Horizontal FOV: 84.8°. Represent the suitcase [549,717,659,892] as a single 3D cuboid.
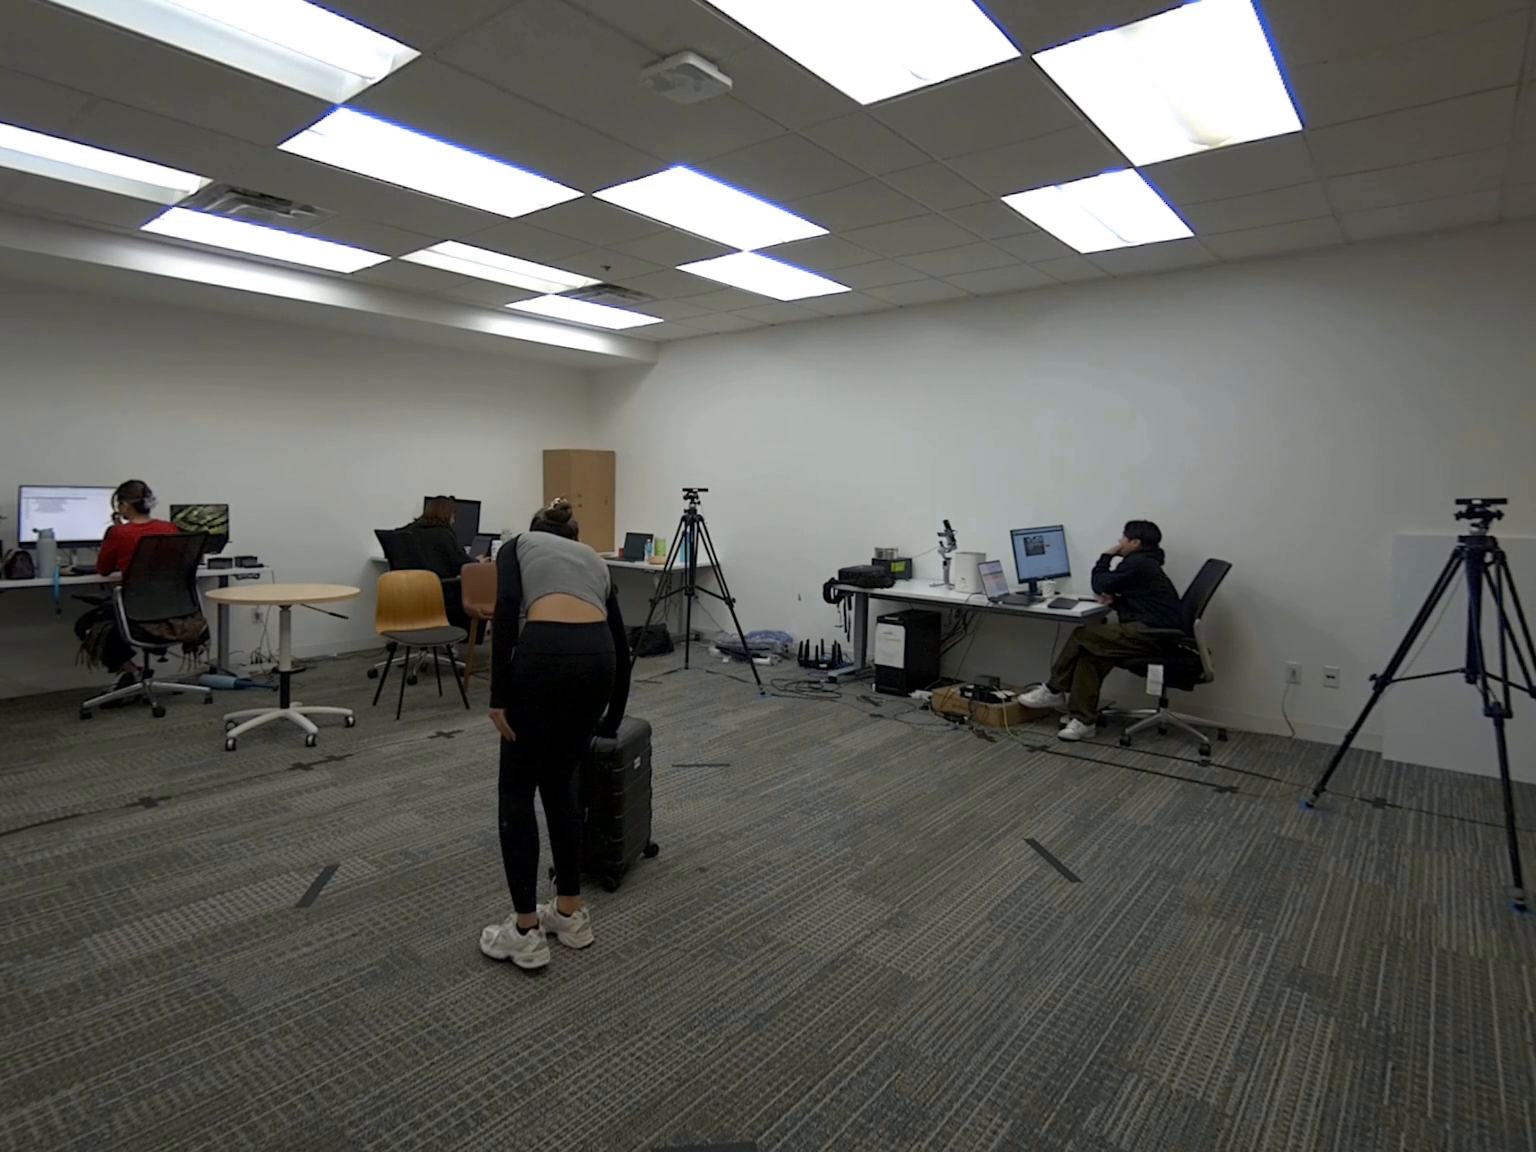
[{"bbox_3d":[-0.597,0.795,3.085,0.253,0.547,0.370,2,4,15],"label":"suitcase"}]
